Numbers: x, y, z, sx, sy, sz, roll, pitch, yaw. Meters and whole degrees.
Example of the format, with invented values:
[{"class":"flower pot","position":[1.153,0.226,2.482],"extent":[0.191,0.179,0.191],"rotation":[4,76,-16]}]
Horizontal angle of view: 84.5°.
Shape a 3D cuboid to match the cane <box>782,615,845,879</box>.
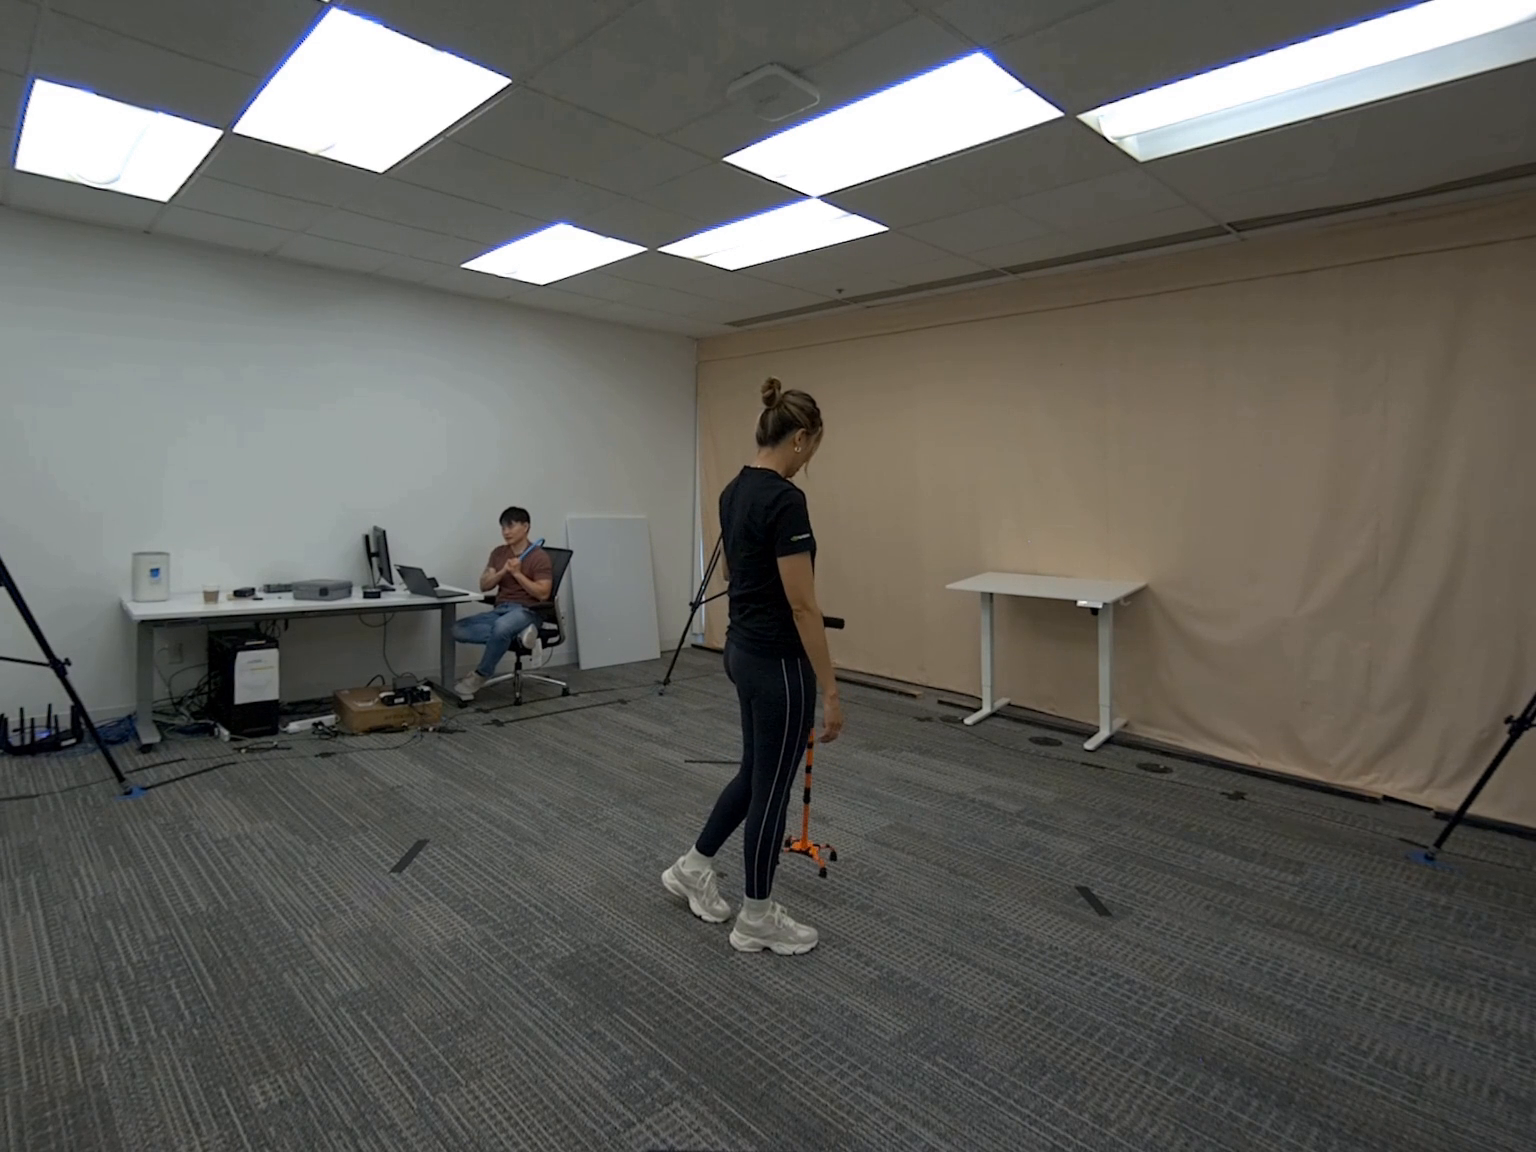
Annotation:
[{"class":"cane","position":[0.148,0.584,2.943],"extent":[0.211,0.902,0.149],"rotation":[7,10,29]}]
